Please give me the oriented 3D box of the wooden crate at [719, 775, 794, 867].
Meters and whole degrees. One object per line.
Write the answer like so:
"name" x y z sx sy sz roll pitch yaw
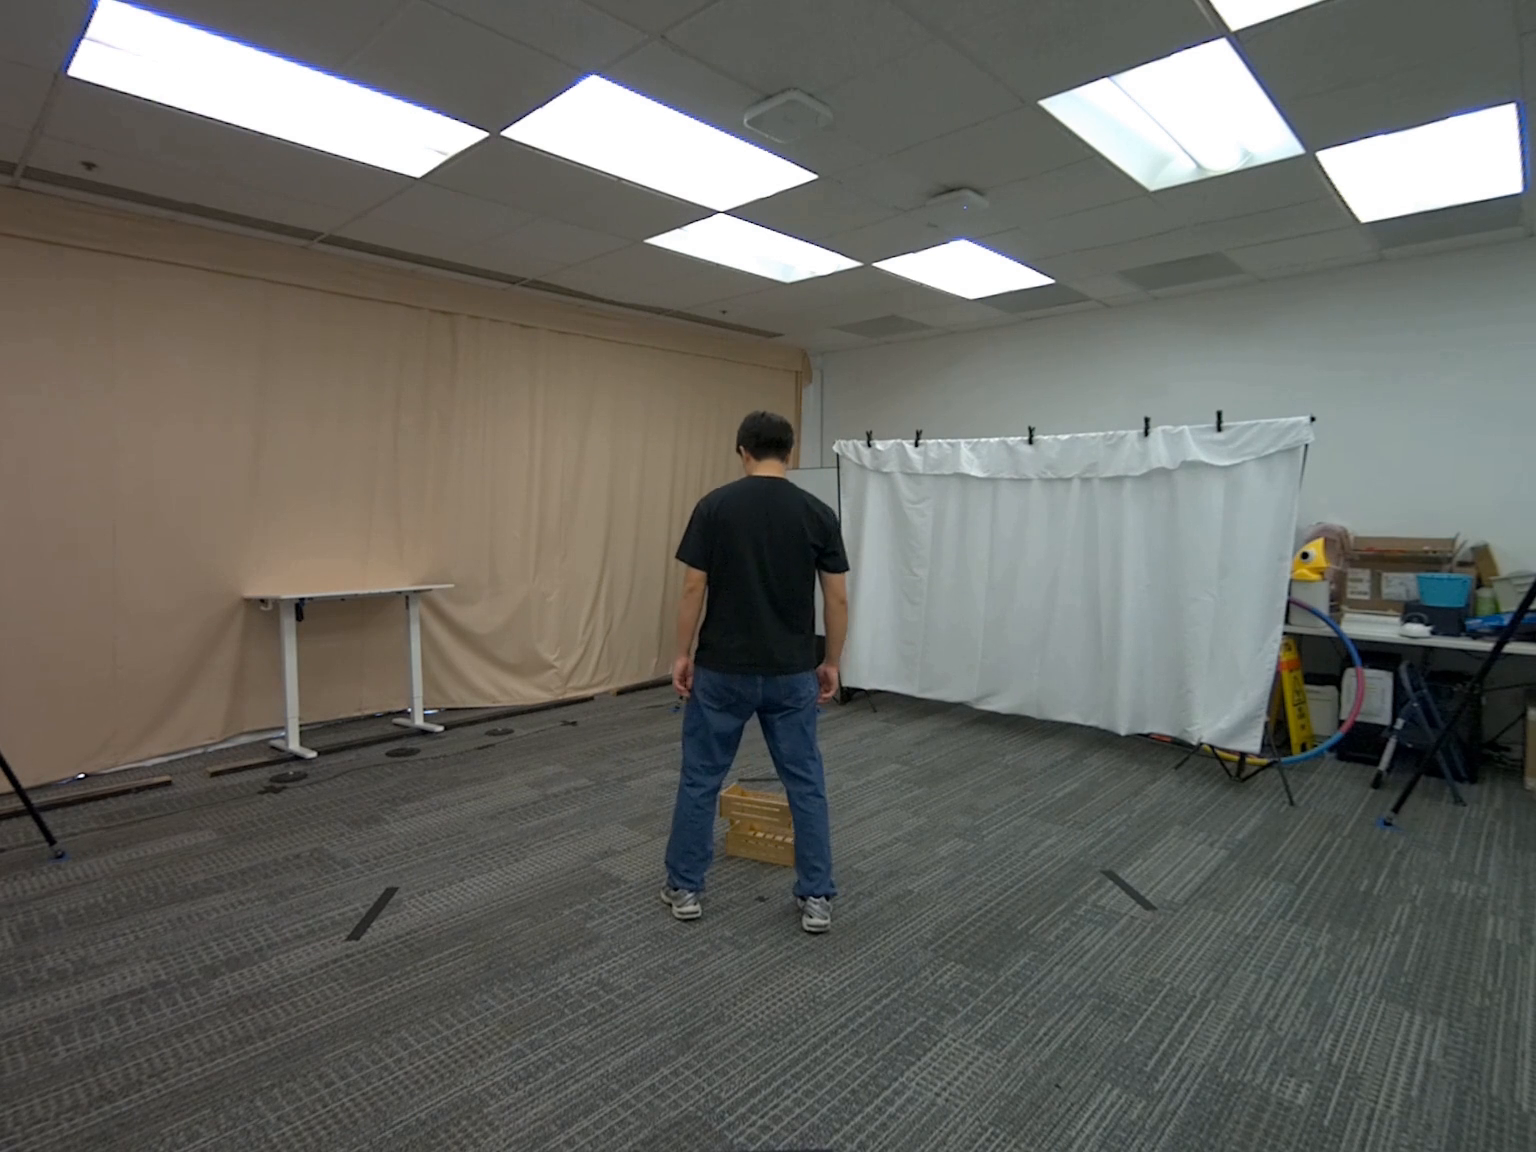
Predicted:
"wooden crate" 0.009 0.977 3.390 0.333 0.272 0.295 2 5 24
